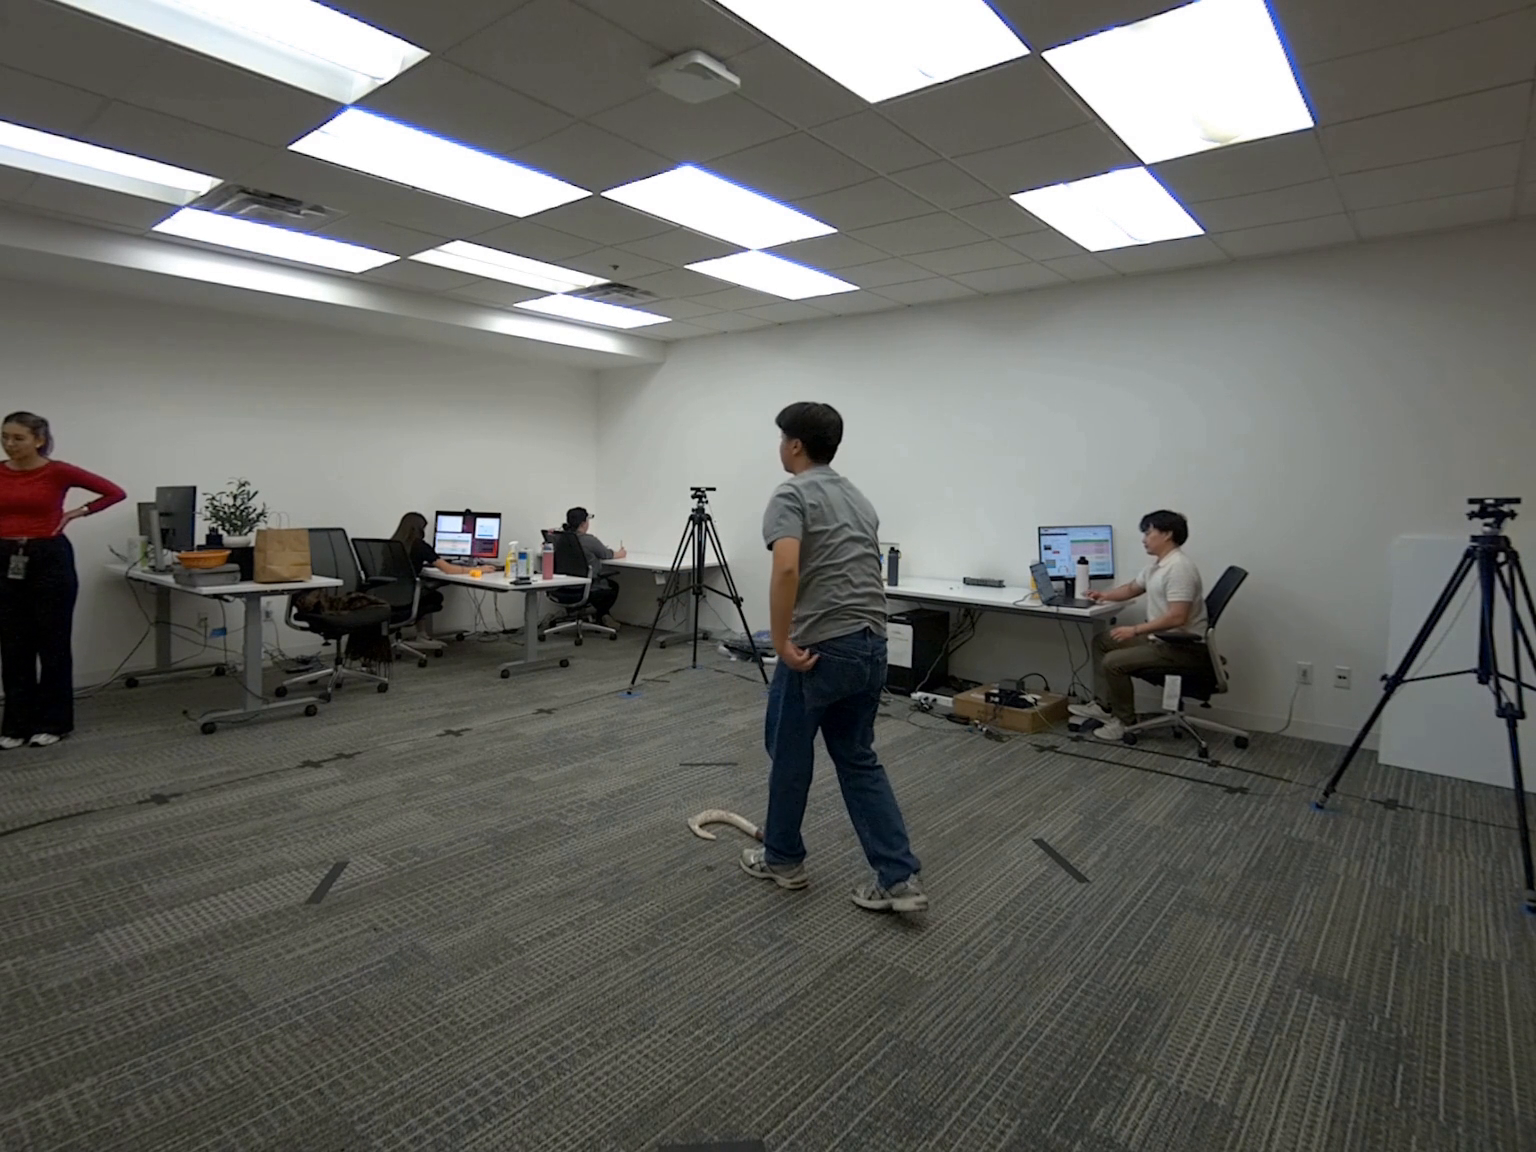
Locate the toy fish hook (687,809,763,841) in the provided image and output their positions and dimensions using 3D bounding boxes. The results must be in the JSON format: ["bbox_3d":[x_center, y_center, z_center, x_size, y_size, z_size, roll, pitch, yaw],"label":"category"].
[{"bbox_3d":[-0.118,1.027,3.379,0.524,0.048,0.219,5,15,42],"label":"toy fish hook"}]
